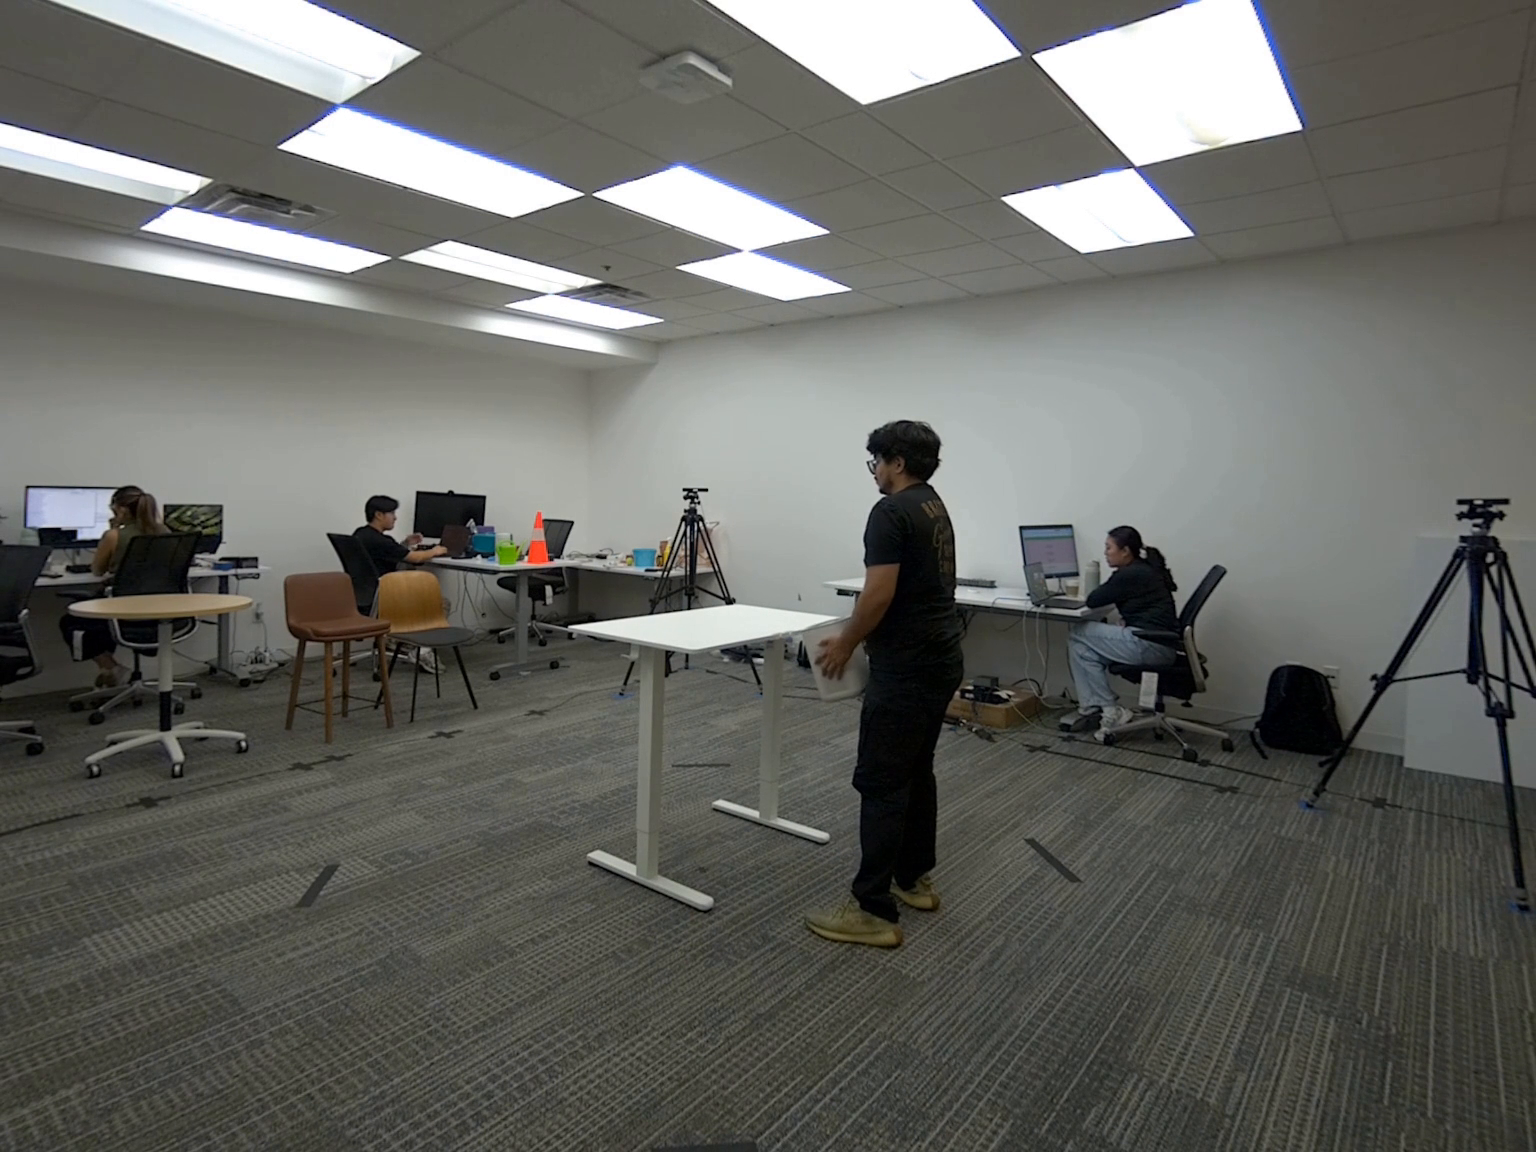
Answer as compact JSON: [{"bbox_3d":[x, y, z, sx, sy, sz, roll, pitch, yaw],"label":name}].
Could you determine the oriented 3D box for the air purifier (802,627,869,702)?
[{"bbox_3d":[0.242,0.293,2.958,0.174,0.267,0.167,-19,-7,29],"label":"air purifier"}]
